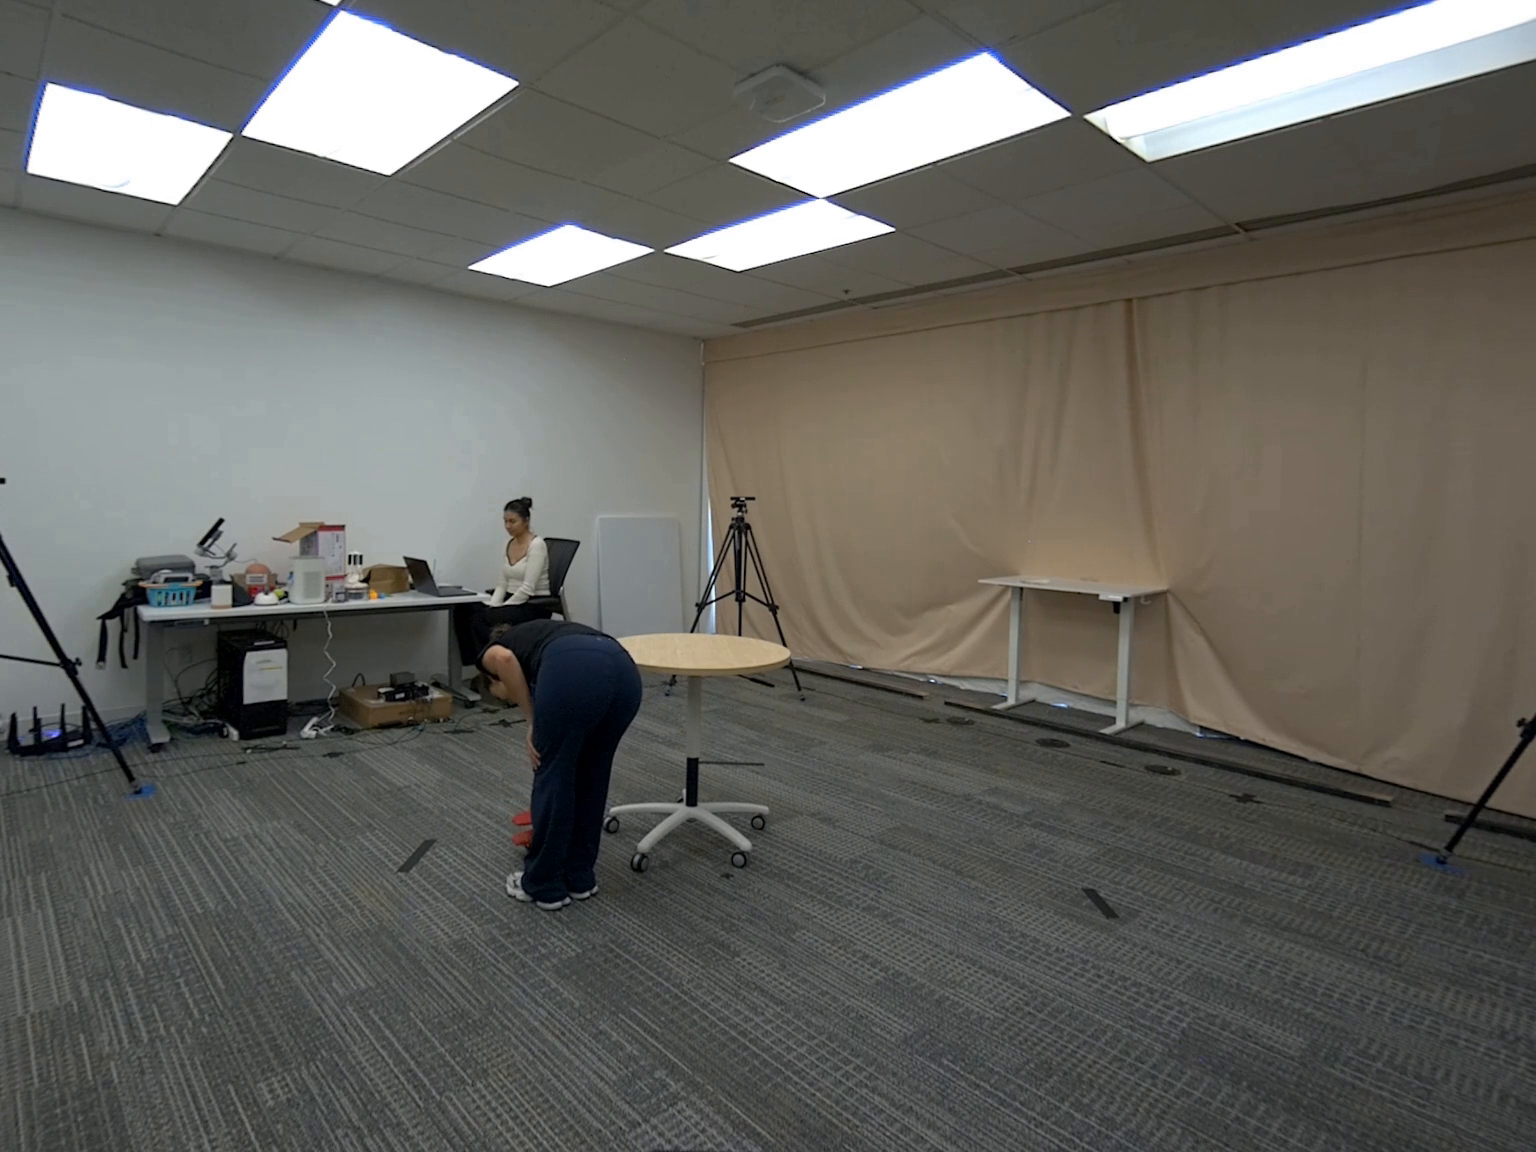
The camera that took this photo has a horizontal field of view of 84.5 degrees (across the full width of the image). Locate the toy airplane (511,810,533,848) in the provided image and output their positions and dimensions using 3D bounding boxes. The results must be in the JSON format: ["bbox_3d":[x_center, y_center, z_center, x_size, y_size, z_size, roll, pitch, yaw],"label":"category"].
[{"bbox_3d":[-0.847,0.992,3.234,0.263,0.157,0.246,-6,-3,22],"label":"toy airplane"}]
